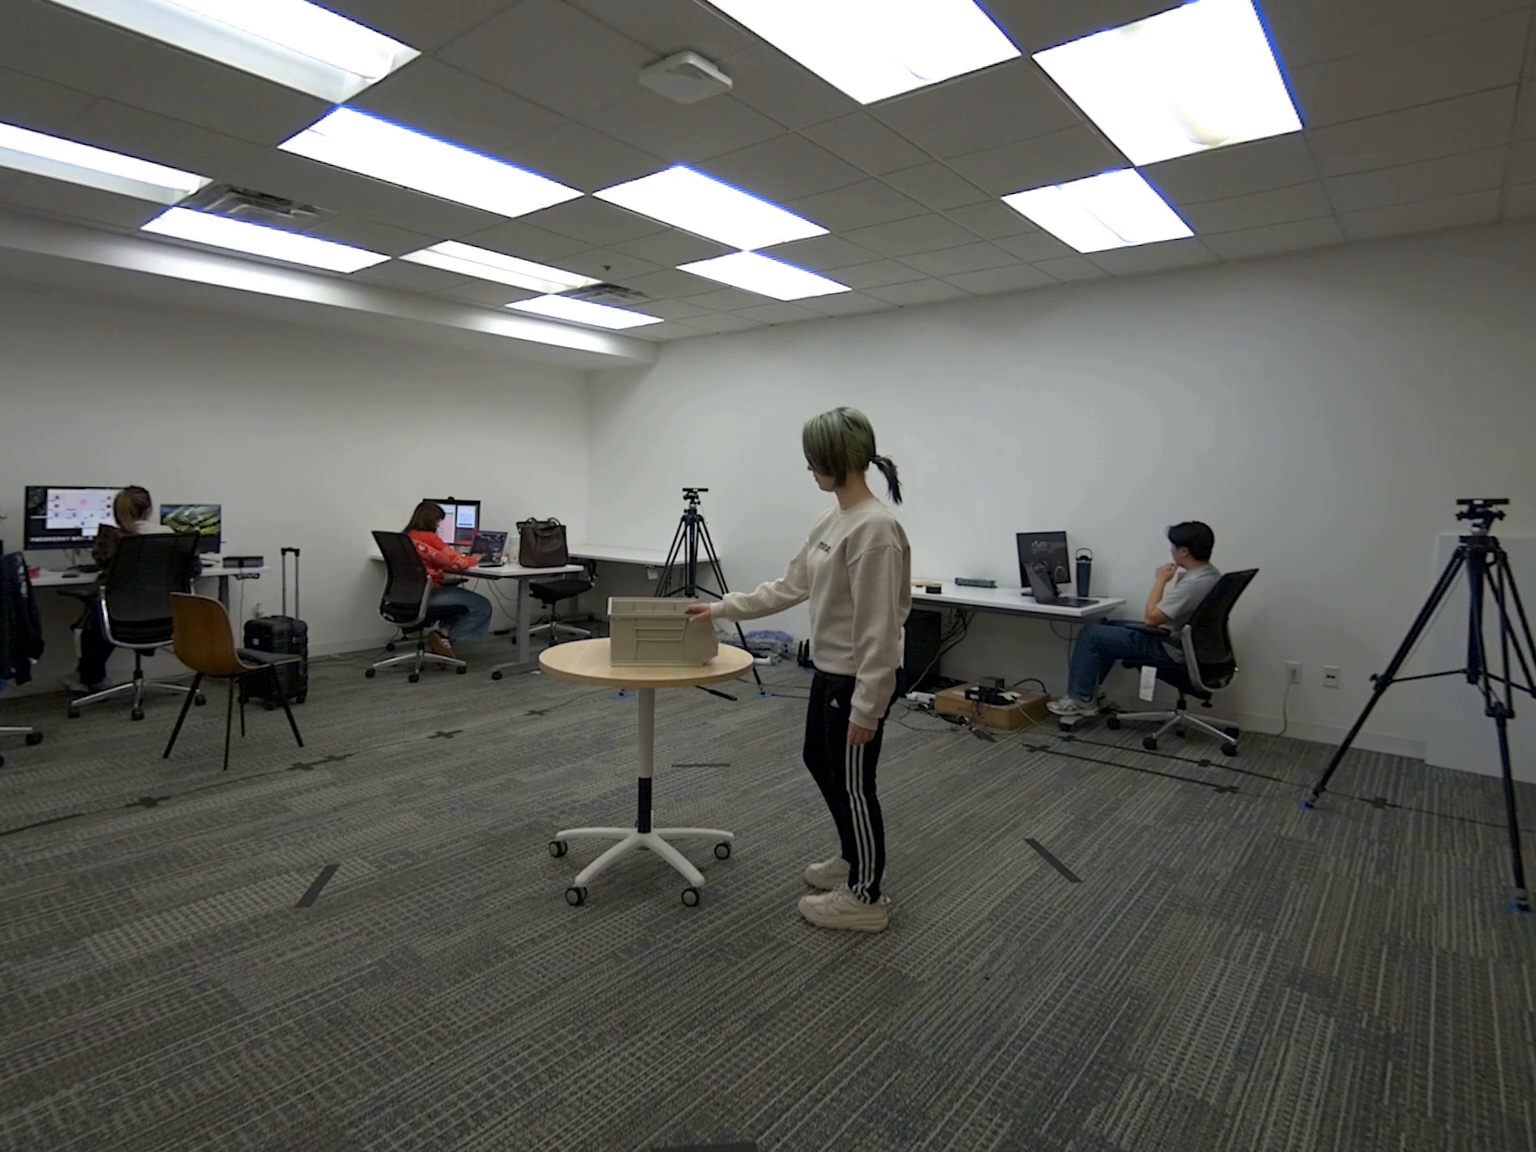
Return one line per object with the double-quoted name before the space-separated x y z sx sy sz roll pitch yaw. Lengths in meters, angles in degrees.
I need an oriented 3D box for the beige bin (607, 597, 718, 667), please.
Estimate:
"beige bin" -0.397 0.195 3.081 0.375 0.188 0.427 -1 6 -8
